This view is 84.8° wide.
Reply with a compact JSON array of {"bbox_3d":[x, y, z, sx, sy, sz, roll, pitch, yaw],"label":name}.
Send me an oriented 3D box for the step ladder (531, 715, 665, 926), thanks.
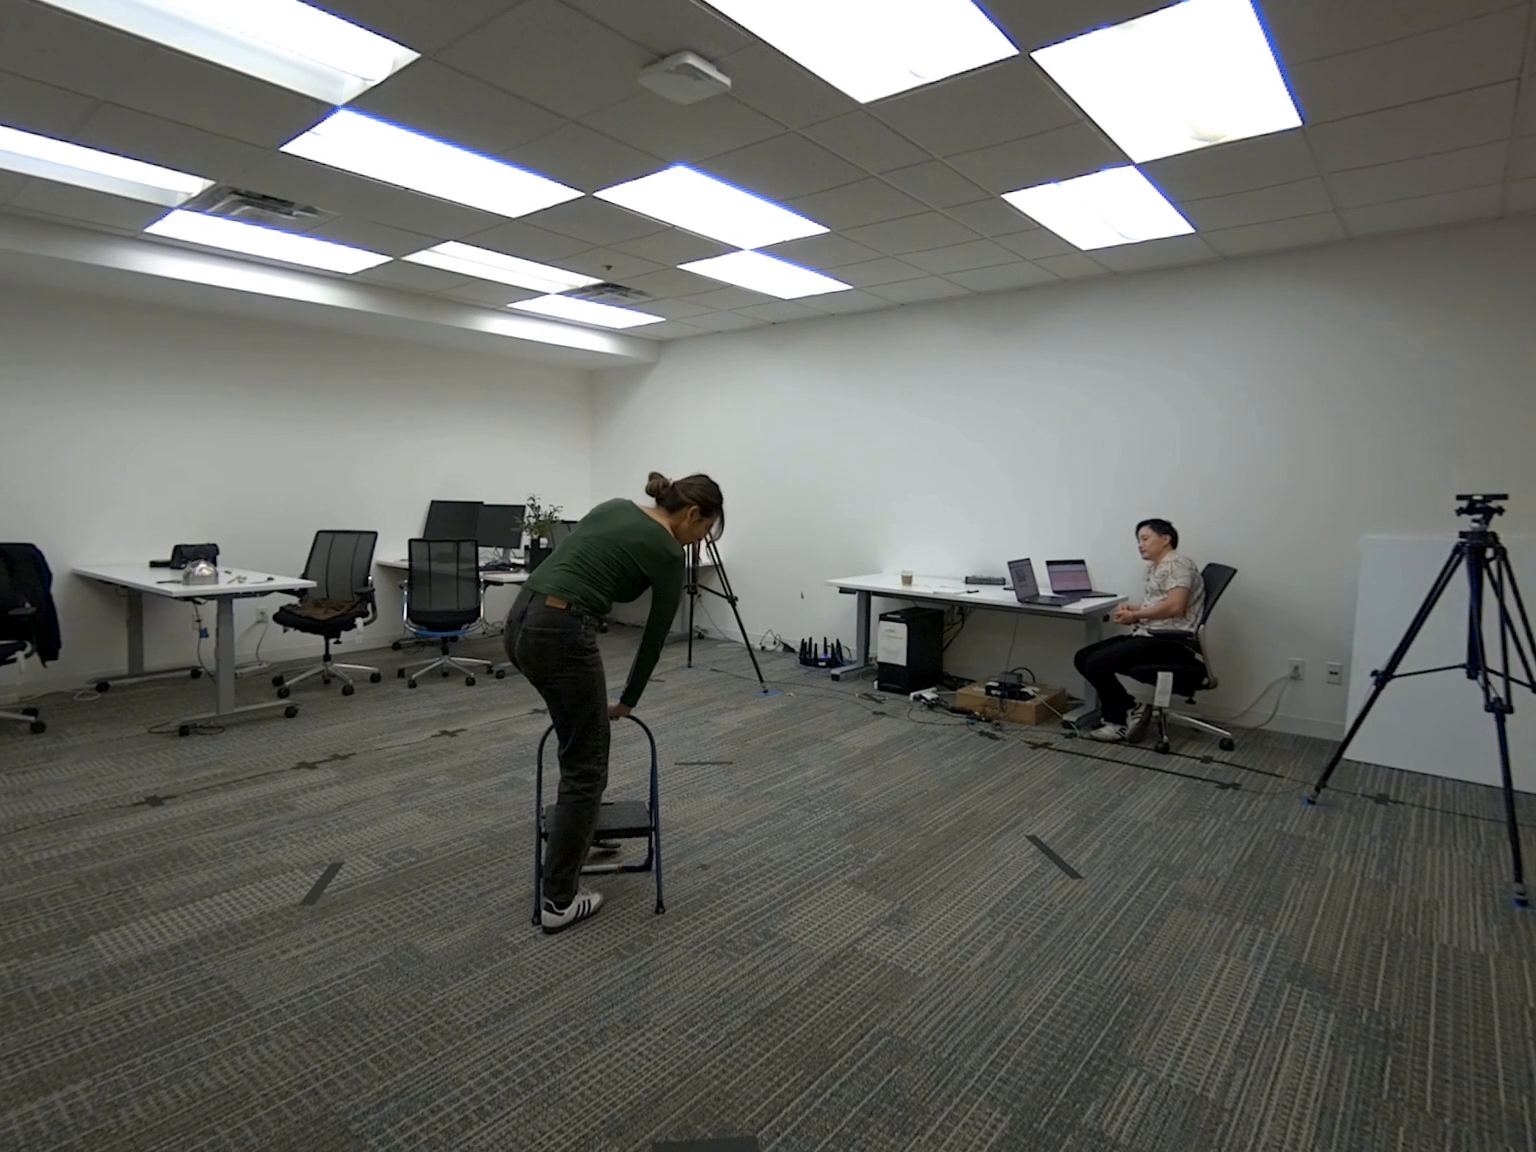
[{"bbox_3d":[-0.585,0.781,2.892,0.425,0.605,0.354,-1,3,-12],"label":"step ladder"}]
